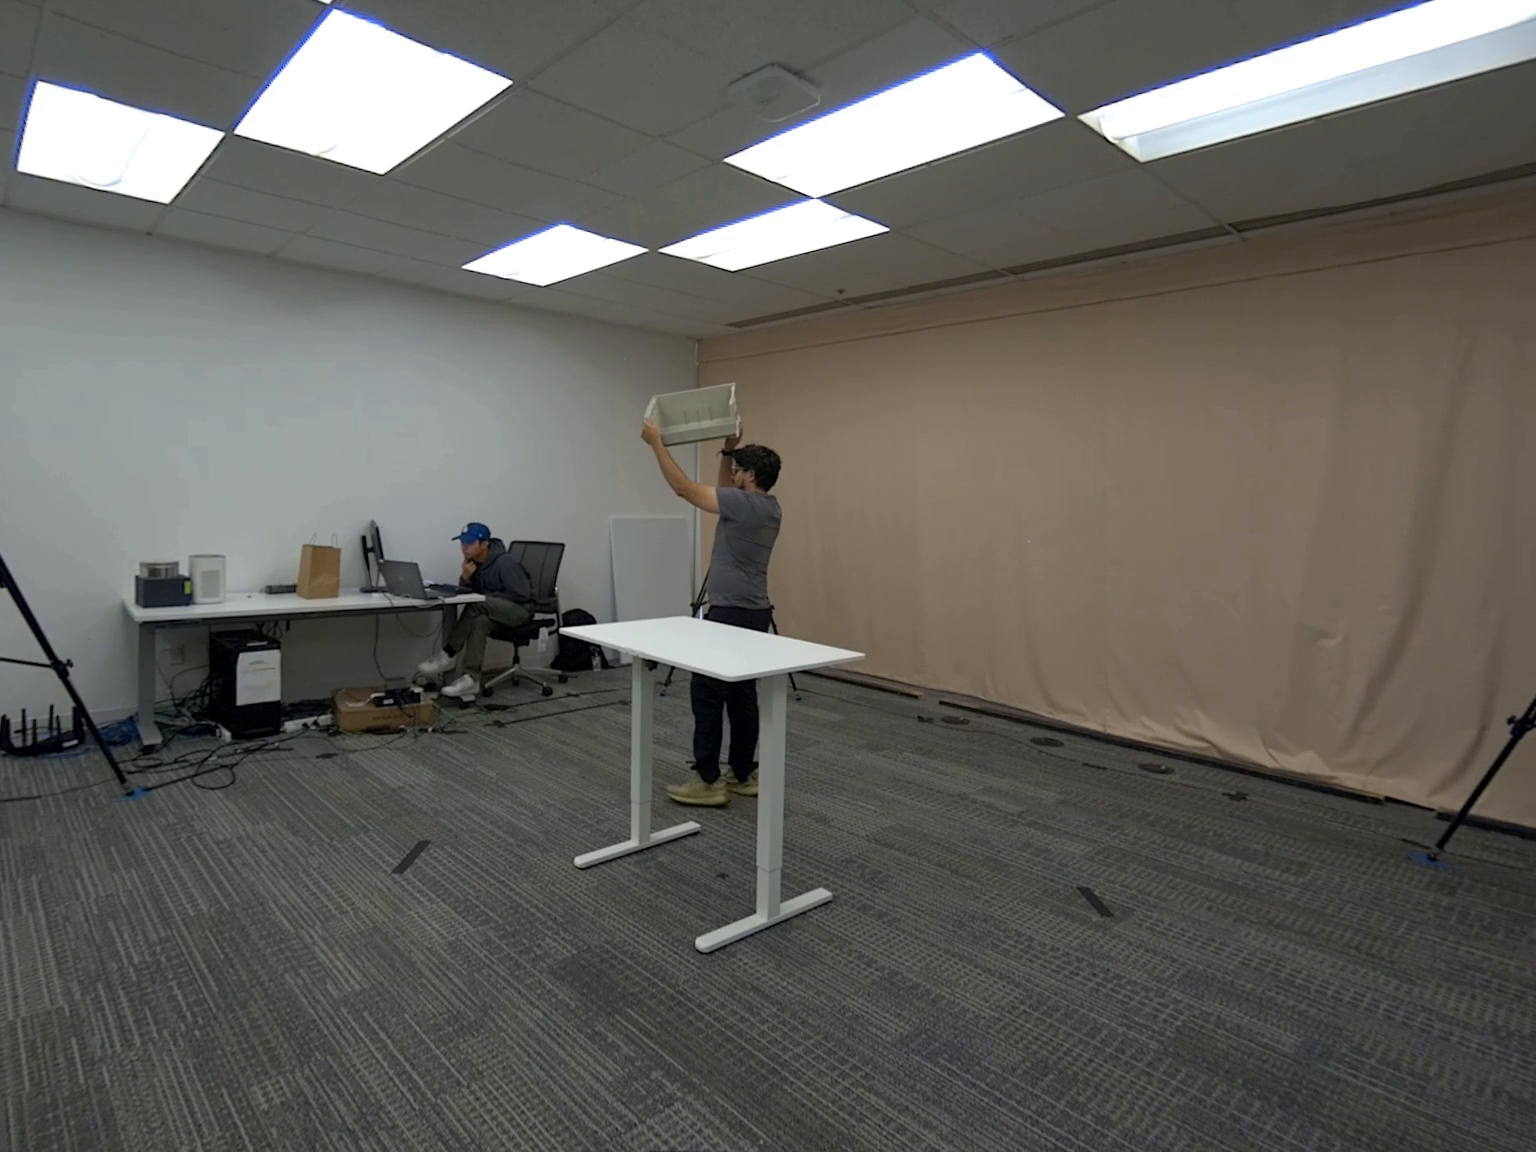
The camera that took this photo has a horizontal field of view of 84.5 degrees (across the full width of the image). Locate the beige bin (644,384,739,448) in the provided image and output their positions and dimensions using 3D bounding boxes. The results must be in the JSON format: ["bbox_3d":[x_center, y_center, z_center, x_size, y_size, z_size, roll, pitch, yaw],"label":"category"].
[{"bbox_3d":[-0.363,-0.763,4.060,0.424,0.185,0.383,-9,26,5],"label":"beige bin"}]
